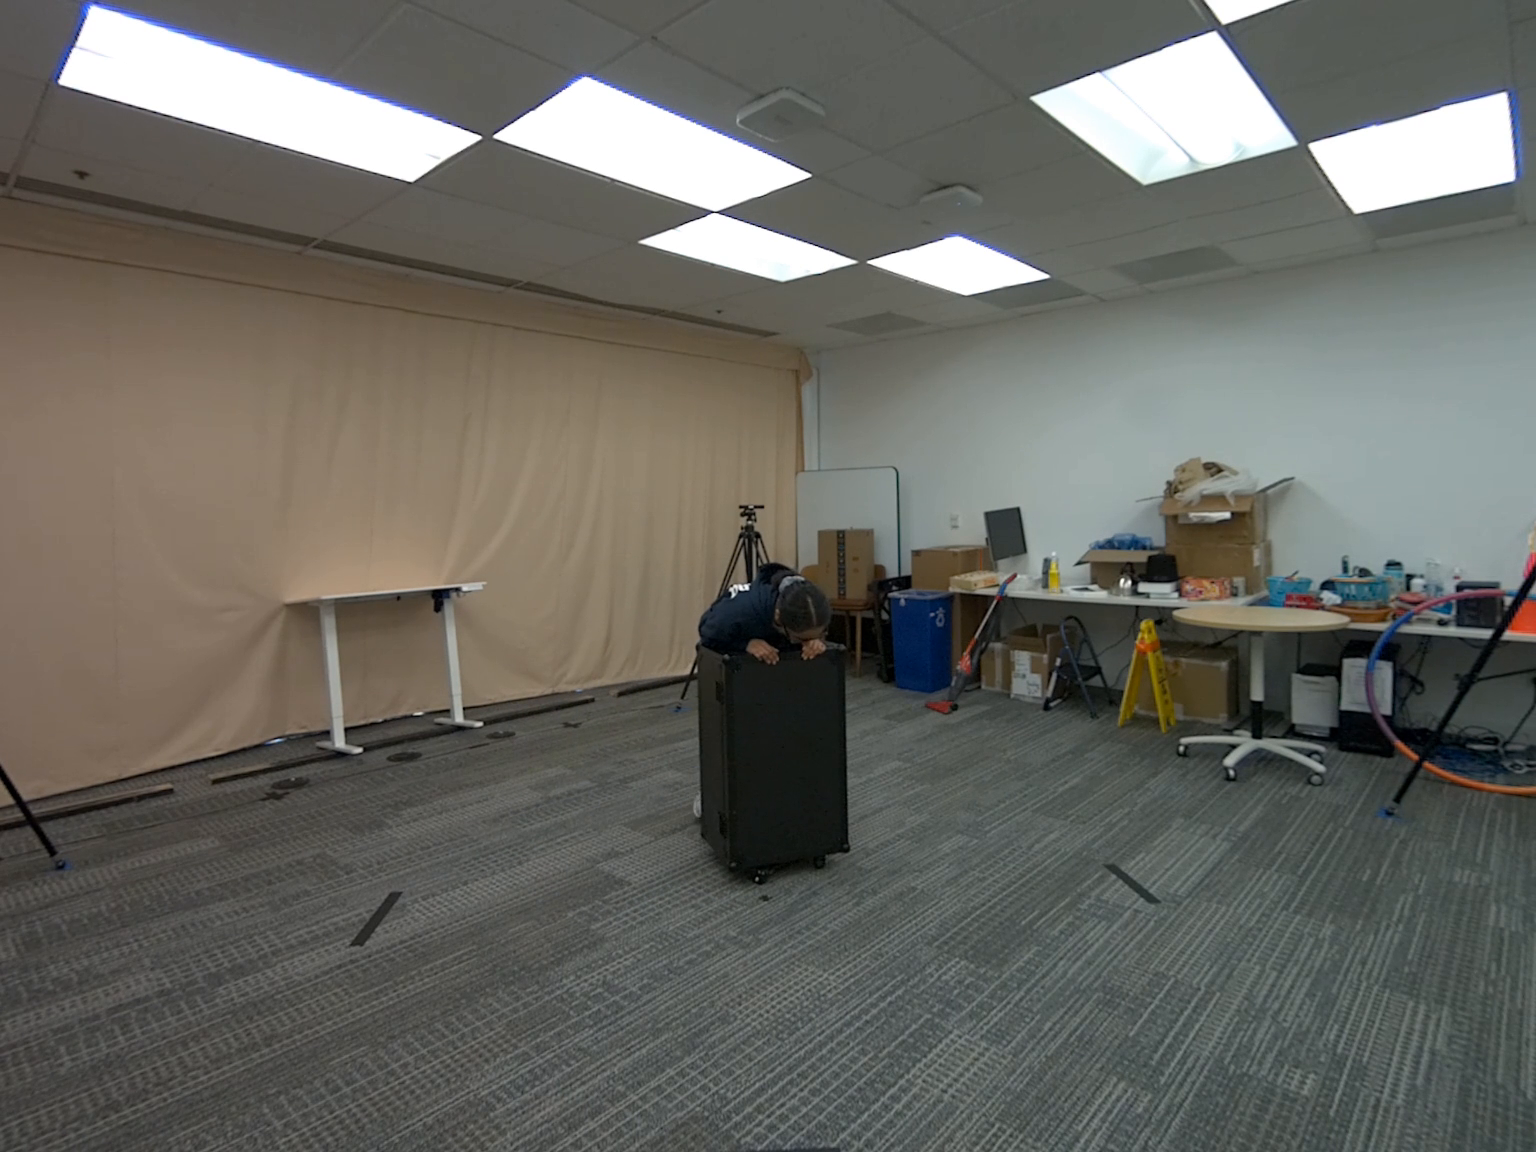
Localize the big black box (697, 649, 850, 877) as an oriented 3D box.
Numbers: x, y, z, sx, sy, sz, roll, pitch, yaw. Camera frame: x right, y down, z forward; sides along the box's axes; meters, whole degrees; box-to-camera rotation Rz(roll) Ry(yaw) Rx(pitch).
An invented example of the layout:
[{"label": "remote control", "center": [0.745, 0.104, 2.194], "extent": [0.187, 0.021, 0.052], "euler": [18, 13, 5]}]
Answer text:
[{"label": "big black box", "center": [0.007, 0.695, 3.269], "extent": [0.511, 0.860, 0.405], "euler": [-3, 3, -20]}]
